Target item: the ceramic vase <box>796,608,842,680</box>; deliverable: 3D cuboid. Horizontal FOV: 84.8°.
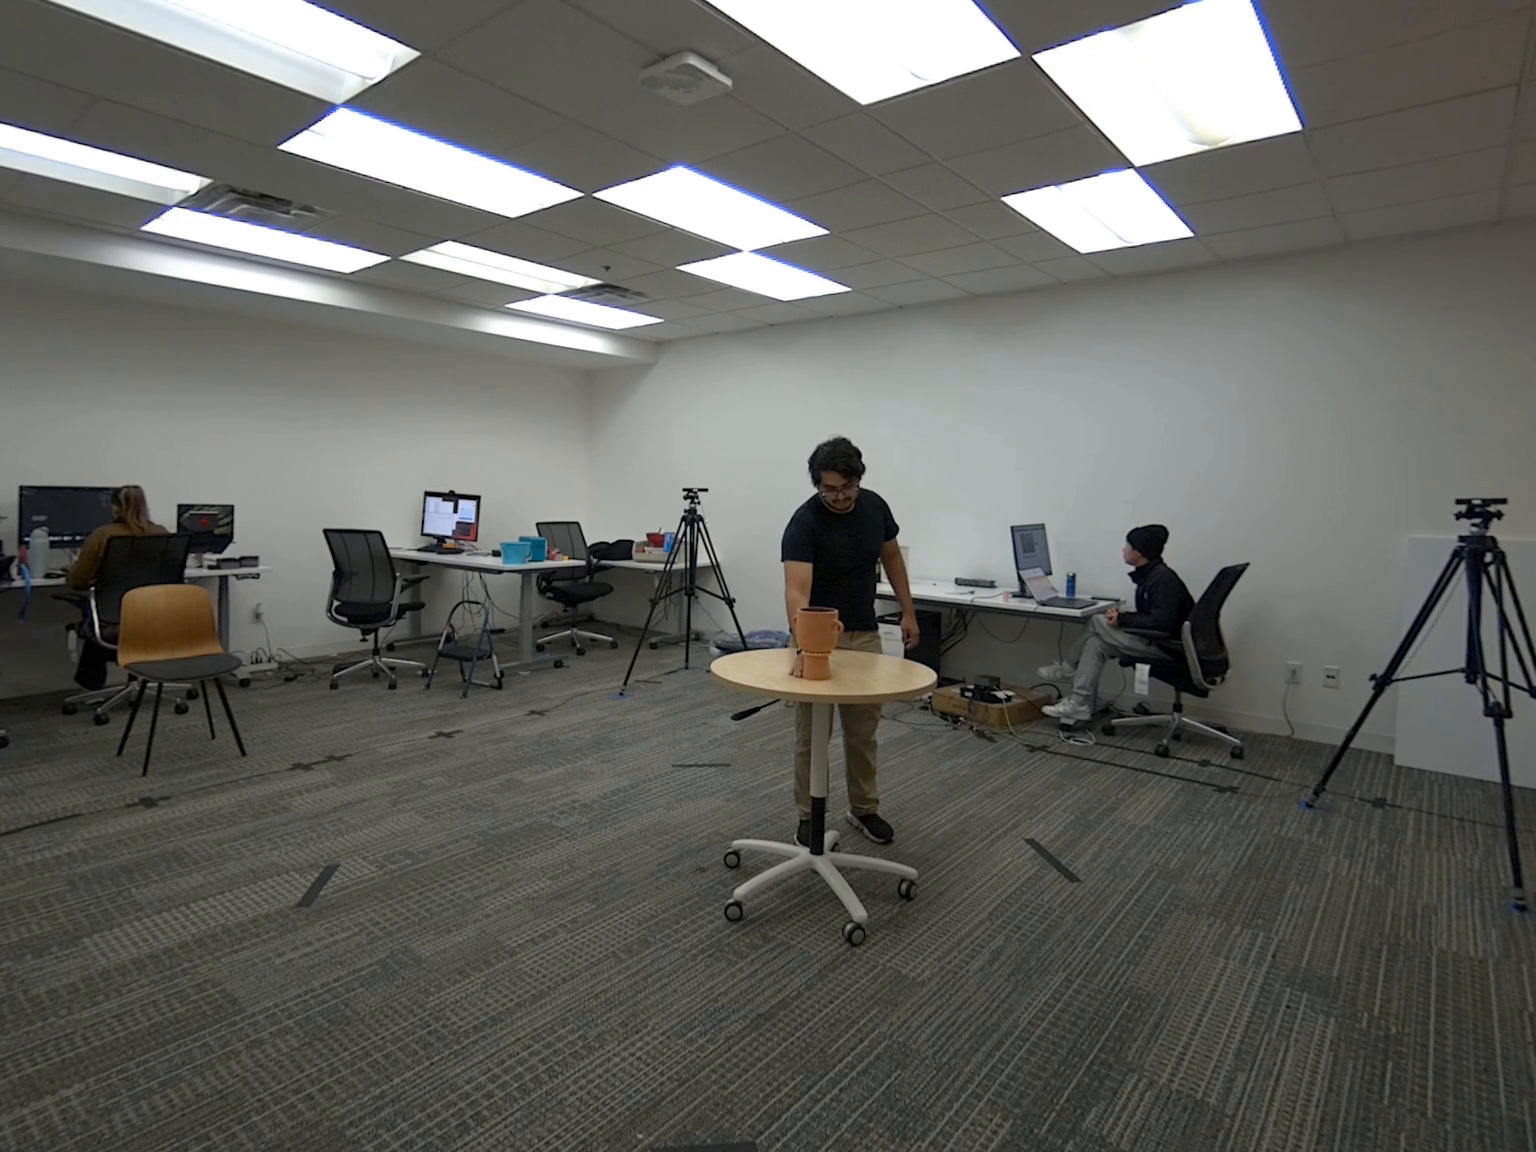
[{"bbox_3d":[0.151,0.220,2.770,0.133,0.219,0.161,2,5,-13],"label":"ceramic vase"}]
